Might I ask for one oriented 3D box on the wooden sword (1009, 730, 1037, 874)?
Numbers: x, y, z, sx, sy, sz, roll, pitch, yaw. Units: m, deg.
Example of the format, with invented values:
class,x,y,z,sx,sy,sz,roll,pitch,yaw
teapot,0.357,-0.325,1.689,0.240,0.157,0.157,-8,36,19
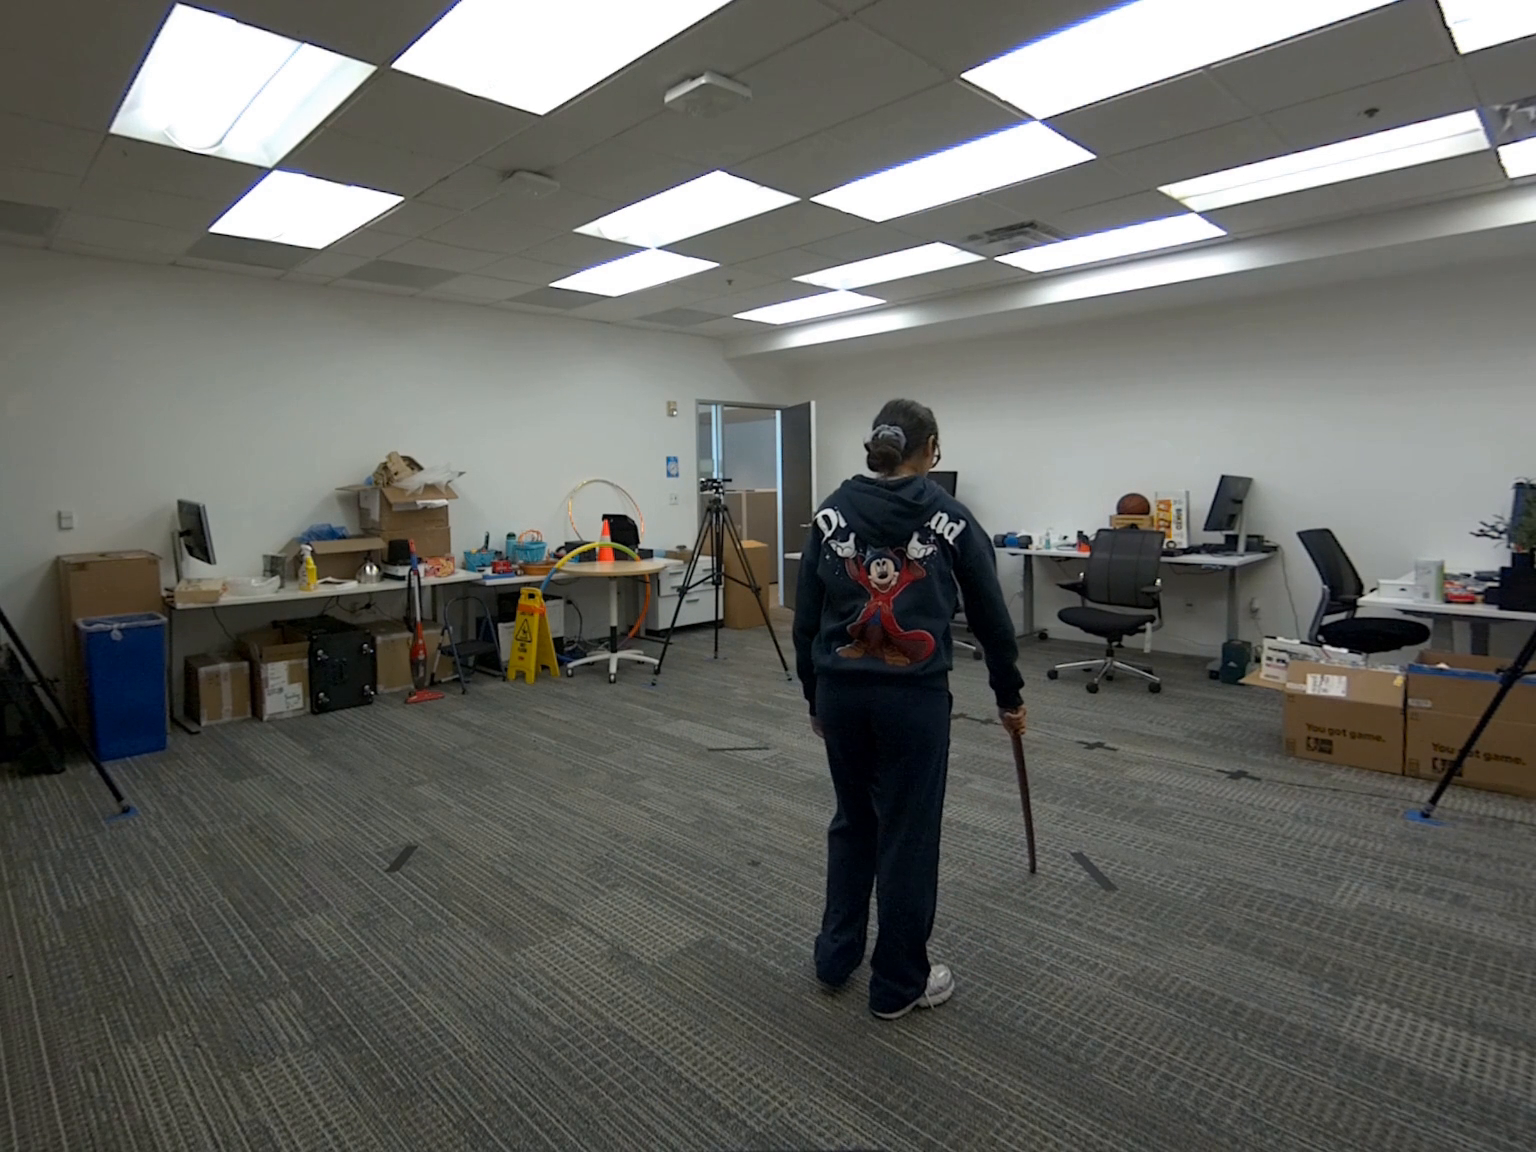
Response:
class,x,y,z,sx,sy,sz,roll,pitch,yaw
wooden sword,0.816,0.710,2.662,0.051,0.989,0.025,-29,46,-9
